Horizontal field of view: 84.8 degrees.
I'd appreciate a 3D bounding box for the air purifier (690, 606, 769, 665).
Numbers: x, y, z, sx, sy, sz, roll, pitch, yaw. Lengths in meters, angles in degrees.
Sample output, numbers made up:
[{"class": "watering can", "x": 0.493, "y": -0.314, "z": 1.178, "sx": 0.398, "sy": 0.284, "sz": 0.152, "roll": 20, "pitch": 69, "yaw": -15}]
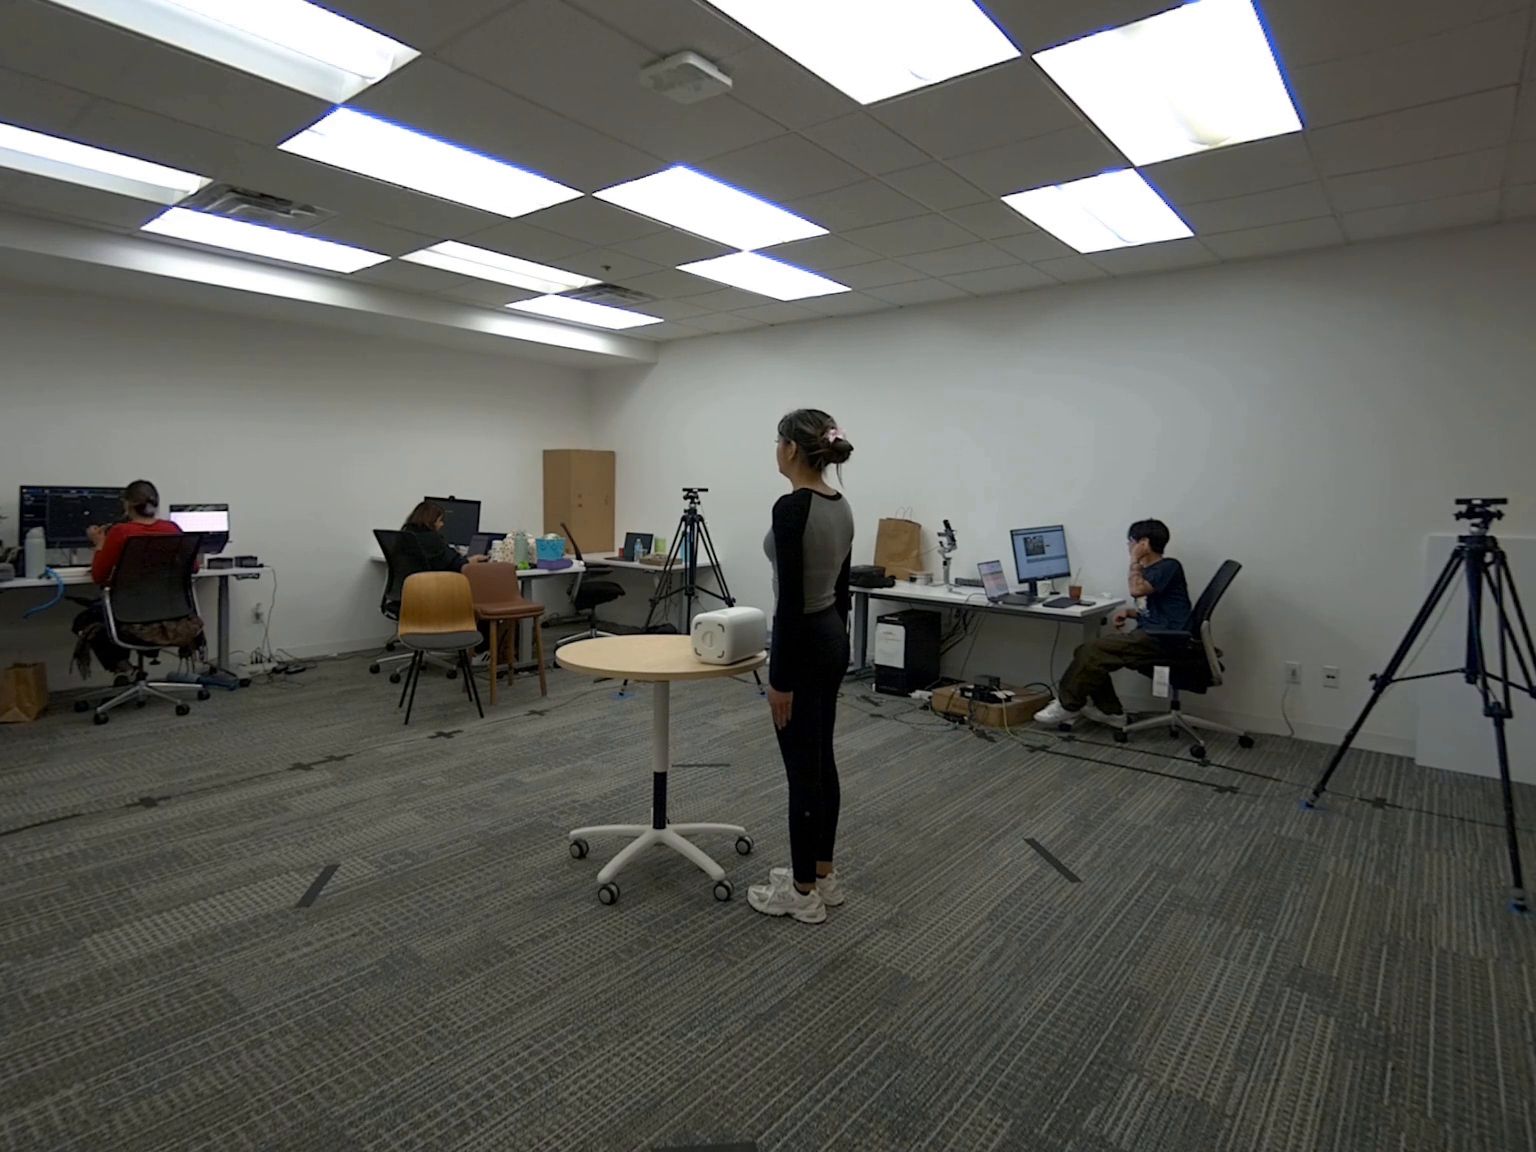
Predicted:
[{"class": "air purifier", "x": -0.146, "y": 0.202, "z": 2.966, "sx": 0.176, "sy": 0.171, "sz": 0.259, "roll": 4, "pitch": 5, "yaw": 27}]
